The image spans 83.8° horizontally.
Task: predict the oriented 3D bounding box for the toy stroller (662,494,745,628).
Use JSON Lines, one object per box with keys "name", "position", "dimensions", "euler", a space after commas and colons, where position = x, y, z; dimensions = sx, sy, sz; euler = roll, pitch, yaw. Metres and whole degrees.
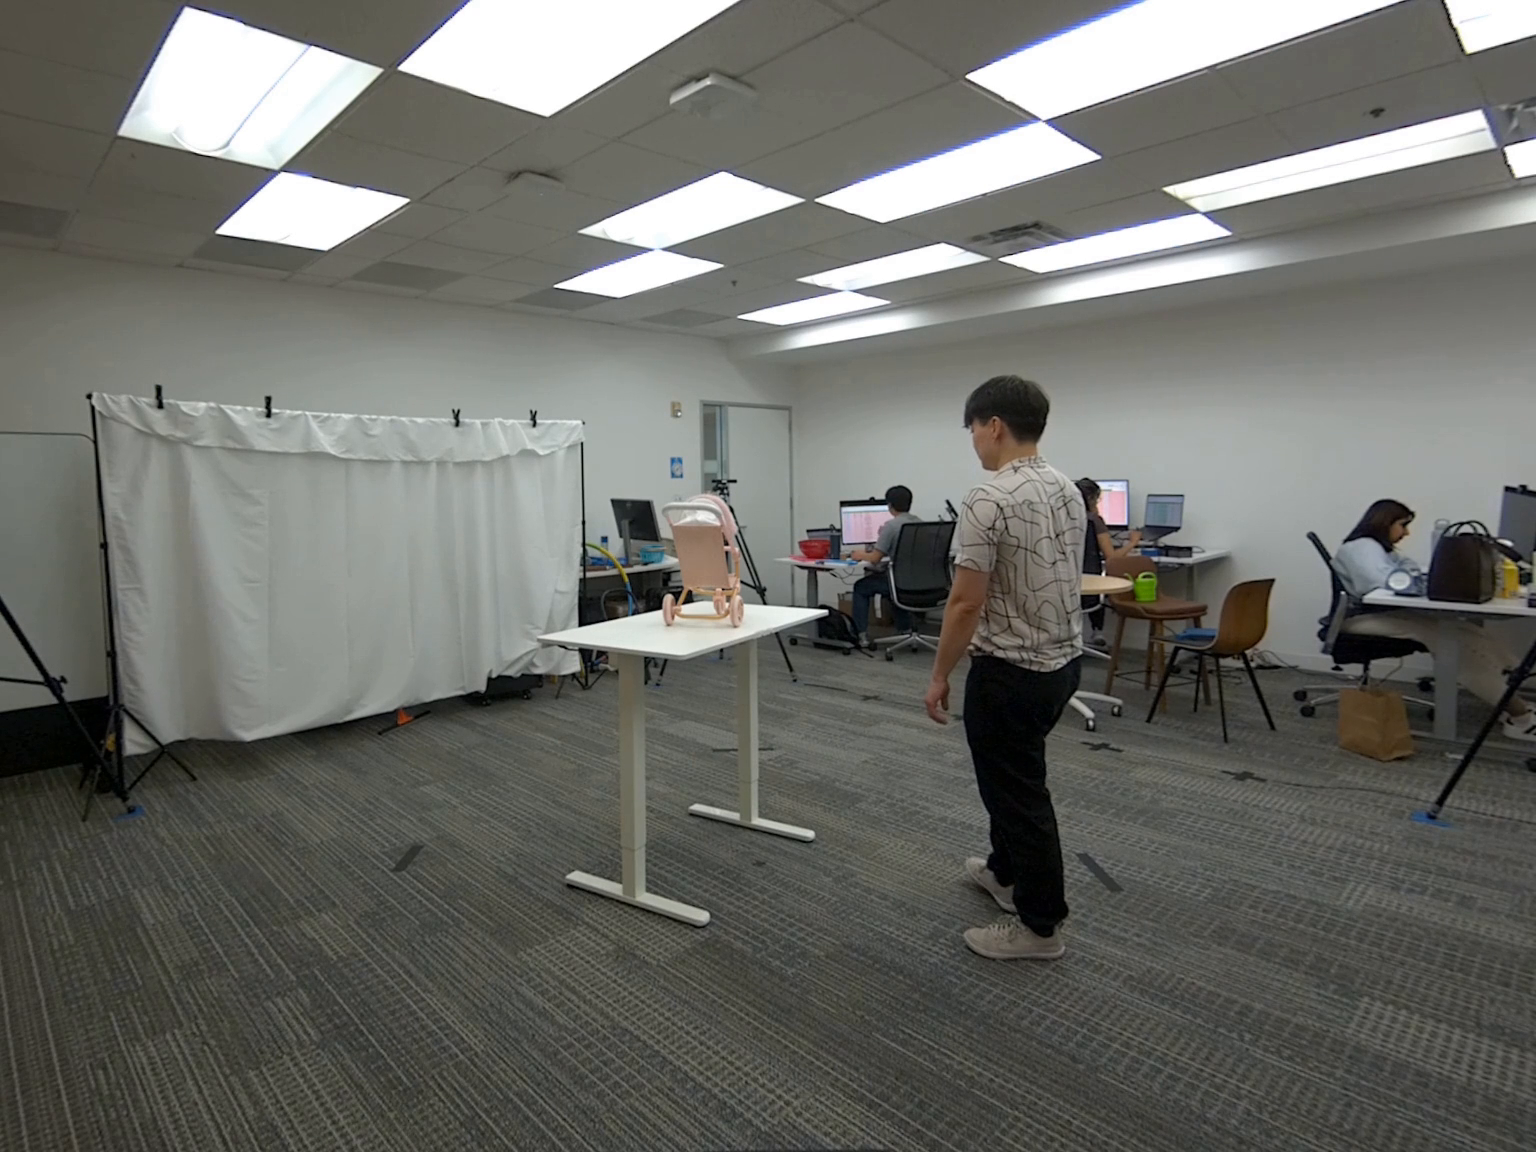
{"name": "toy stroller", "position": [-0.220, -0.052, 3.085], "dimensions": [0.286, 0.526, 0.342], "euler": [1, 19, 16]}
